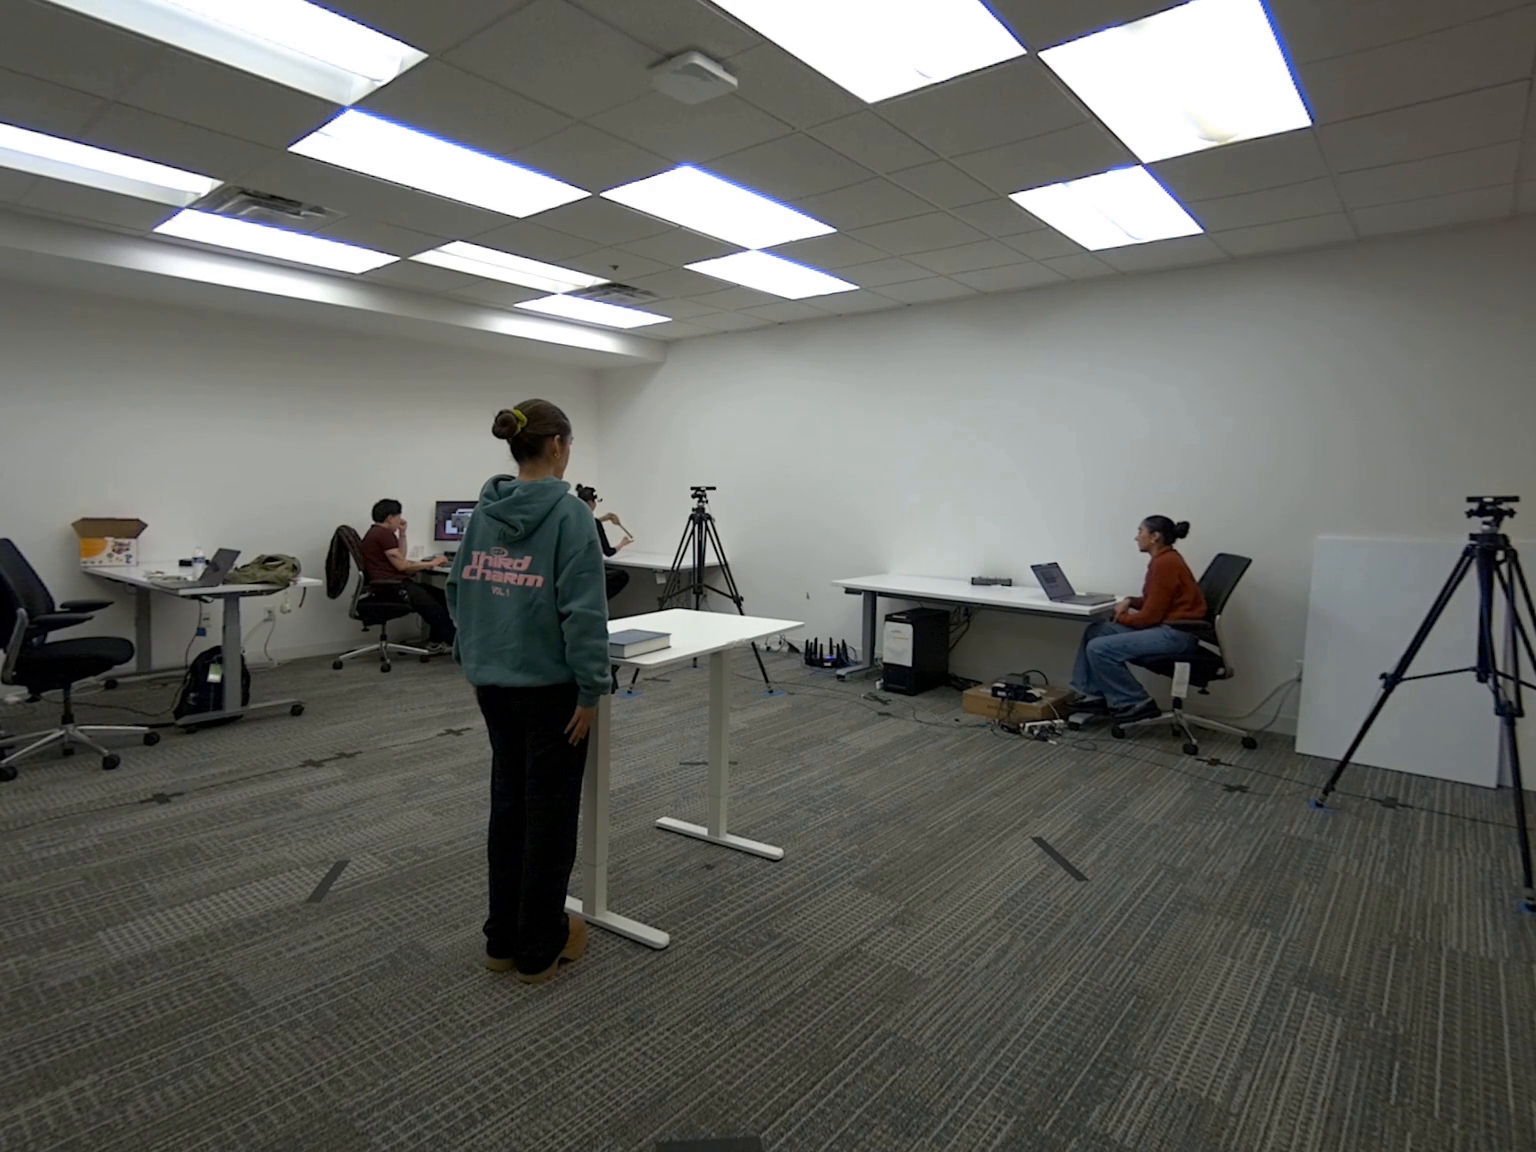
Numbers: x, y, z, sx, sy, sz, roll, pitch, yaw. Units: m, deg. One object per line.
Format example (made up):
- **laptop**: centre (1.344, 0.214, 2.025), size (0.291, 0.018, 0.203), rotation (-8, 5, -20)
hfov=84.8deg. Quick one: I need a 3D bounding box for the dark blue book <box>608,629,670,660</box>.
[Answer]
- **dark blue book**: centre (-0.441, 0.207, 2.616), size (0.168, 0.045, 0.239), rotation (3, 6, 27)
